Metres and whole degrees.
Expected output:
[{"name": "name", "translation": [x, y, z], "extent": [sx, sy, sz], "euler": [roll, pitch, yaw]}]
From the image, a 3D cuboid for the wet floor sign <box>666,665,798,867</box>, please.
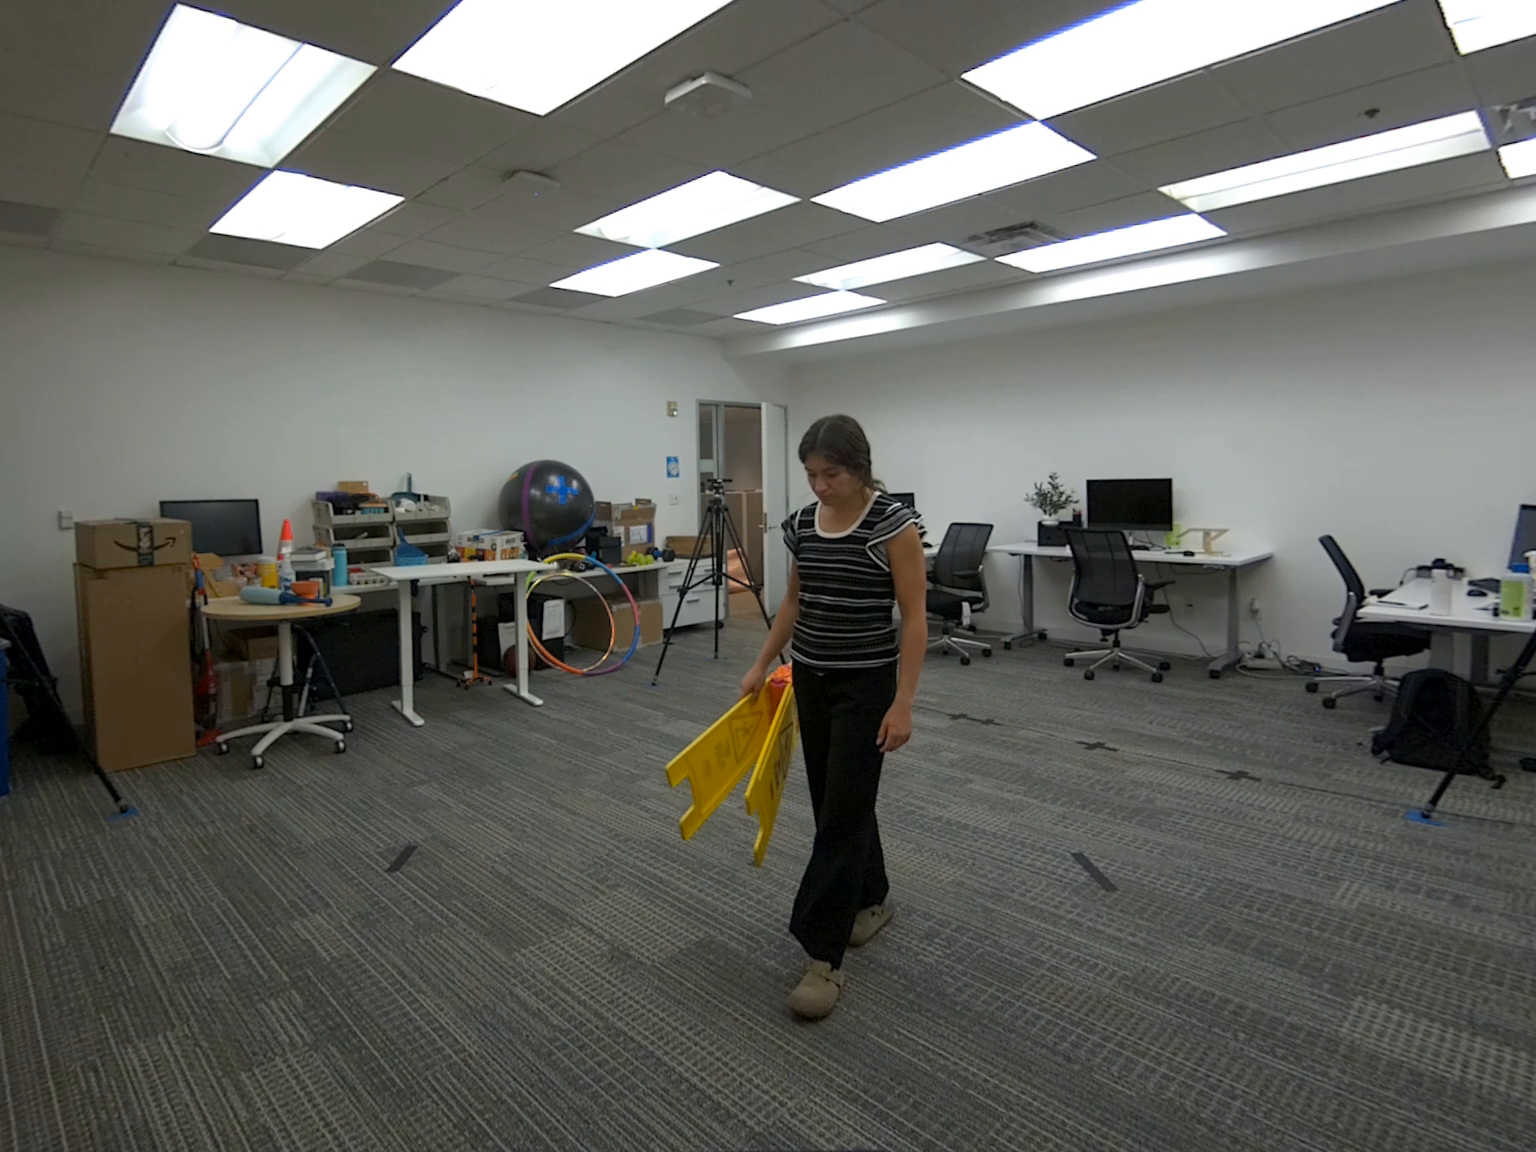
[{"name": "wet floor sign", "translation": [-0.017, 0.500, 2.590], "extent": [0.297, 0.274, 0.647], "euler": [8, 35, 24]}]
